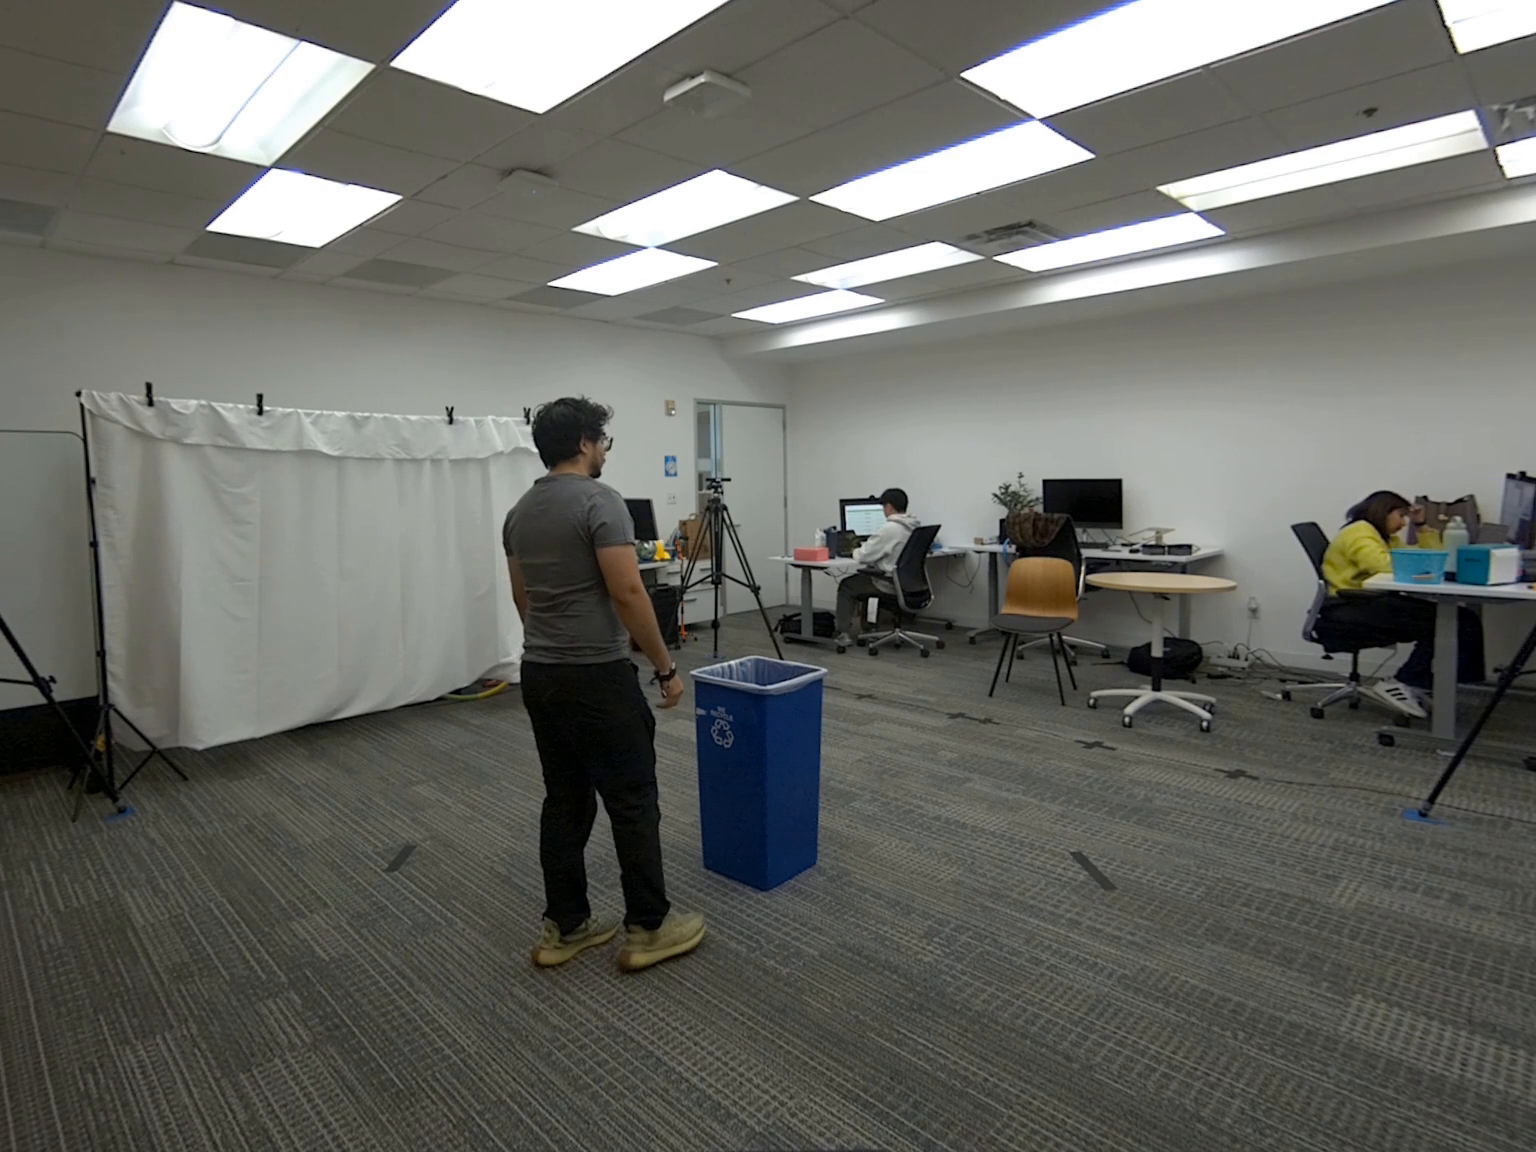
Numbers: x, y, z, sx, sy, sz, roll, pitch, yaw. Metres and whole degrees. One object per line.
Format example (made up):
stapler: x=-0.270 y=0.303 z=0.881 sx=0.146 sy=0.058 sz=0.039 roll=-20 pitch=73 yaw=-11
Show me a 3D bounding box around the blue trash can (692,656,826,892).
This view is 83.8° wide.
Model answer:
blue trash can: x=-0.021 y=0.689 z=3.062 sx=0.385 sy=0.711 sz=0.368 roll=3 pitch=6 yaw=41
